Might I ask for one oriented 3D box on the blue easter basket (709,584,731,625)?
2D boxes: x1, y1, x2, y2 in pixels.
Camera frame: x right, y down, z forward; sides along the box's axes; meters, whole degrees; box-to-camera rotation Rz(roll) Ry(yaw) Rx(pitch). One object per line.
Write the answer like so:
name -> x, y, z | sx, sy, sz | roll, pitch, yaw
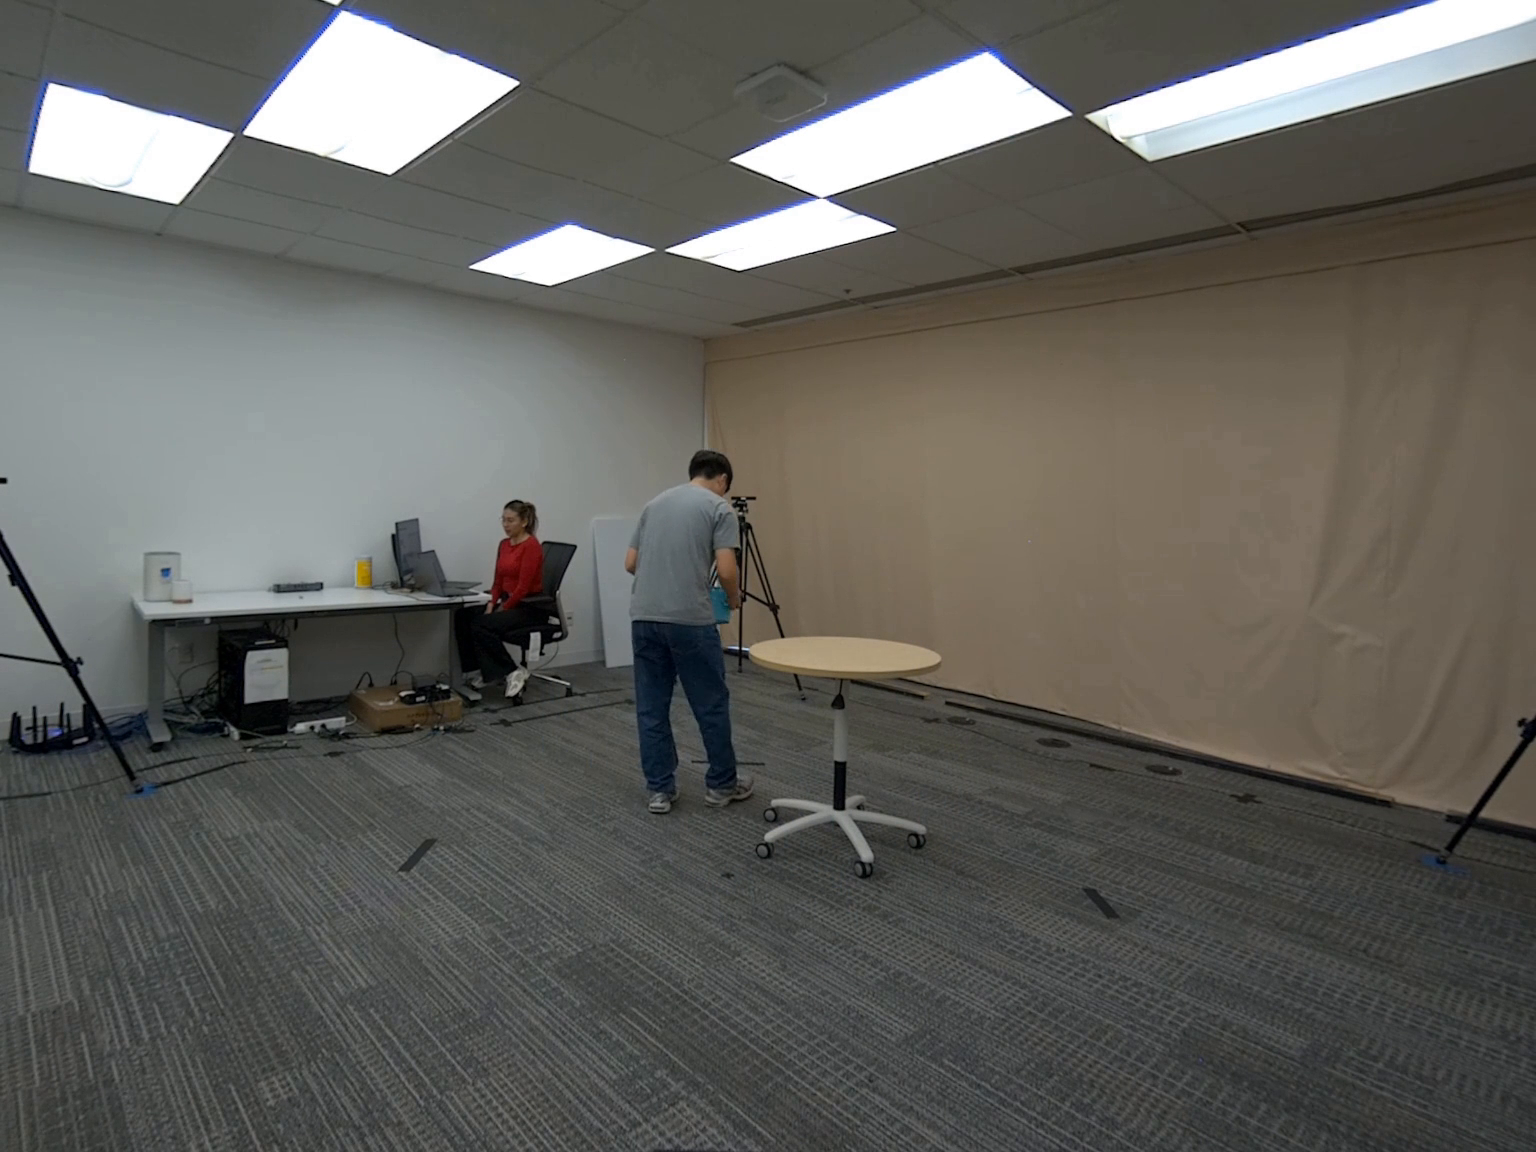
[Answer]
blue easter basket -> -0.283, 0.155, 3.996 | 0.243, 0.157, 0.242 | 0, -9, -1
